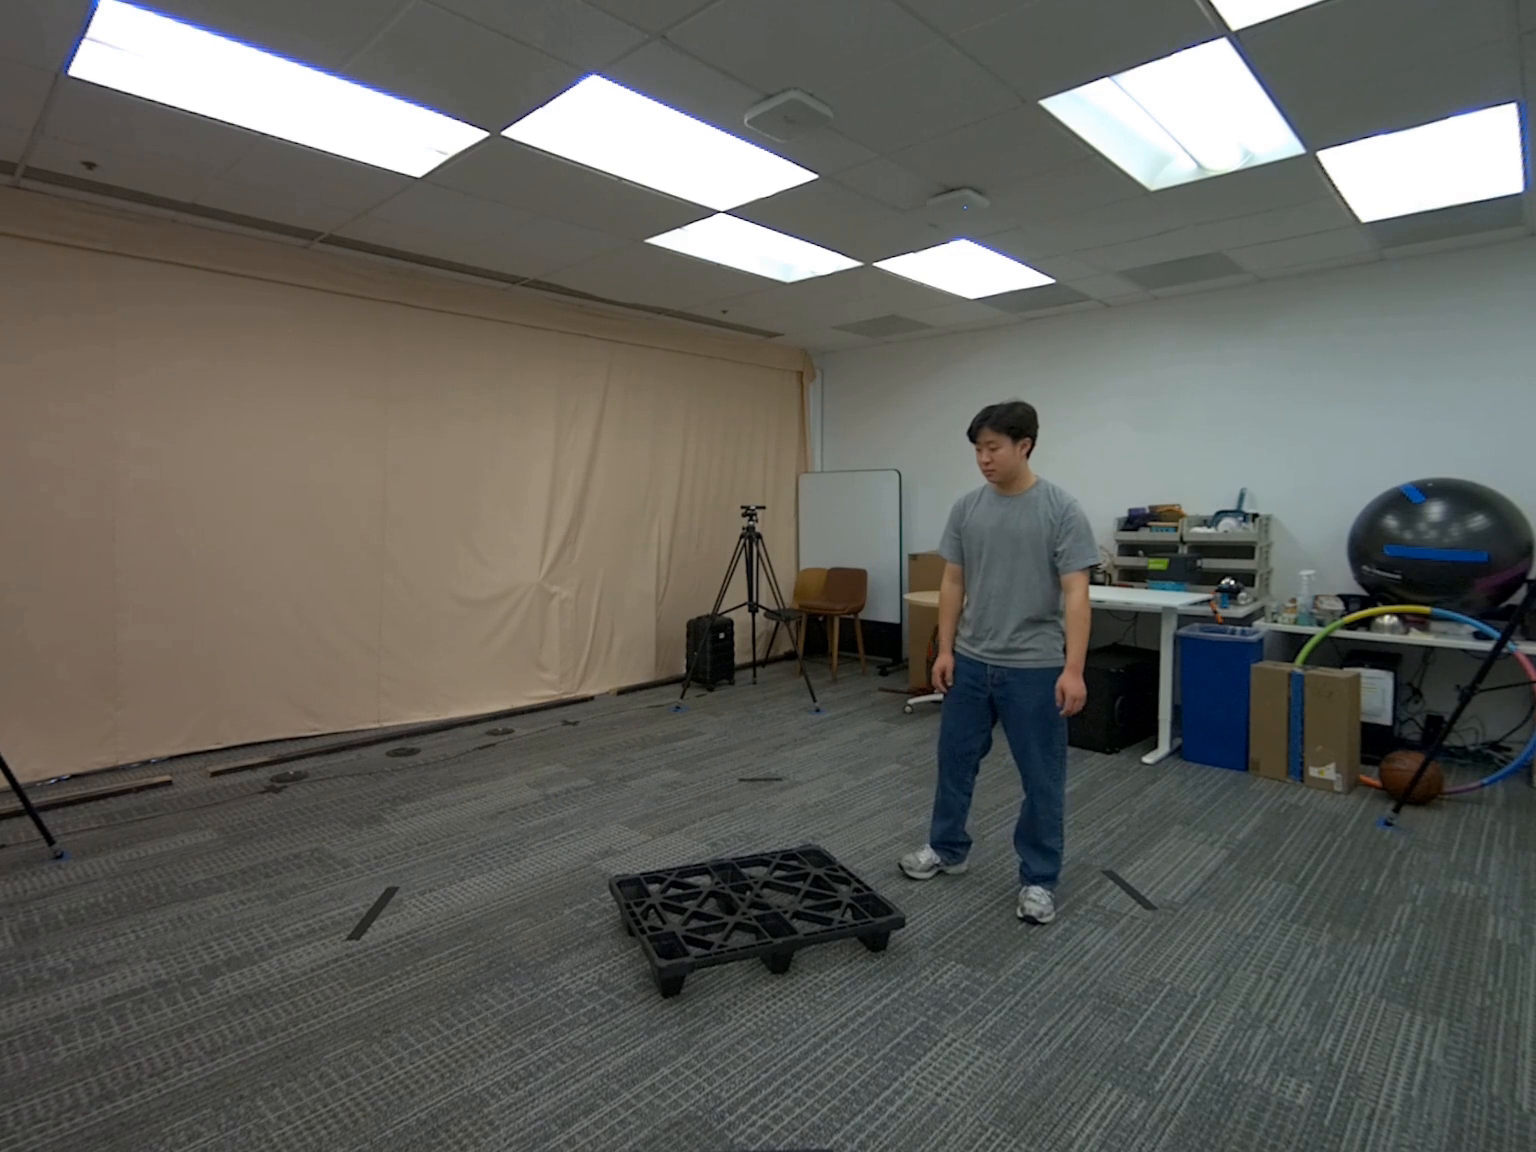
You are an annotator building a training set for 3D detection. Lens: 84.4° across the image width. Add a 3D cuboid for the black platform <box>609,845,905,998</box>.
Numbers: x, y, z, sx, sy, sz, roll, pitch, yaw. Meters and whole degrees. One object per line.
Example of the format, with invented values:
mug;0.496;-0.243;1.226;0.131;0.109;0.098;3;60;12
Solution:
black platform;-0.059;1.097;2.721;0.788;0.143;0.619;-2;5;-22
